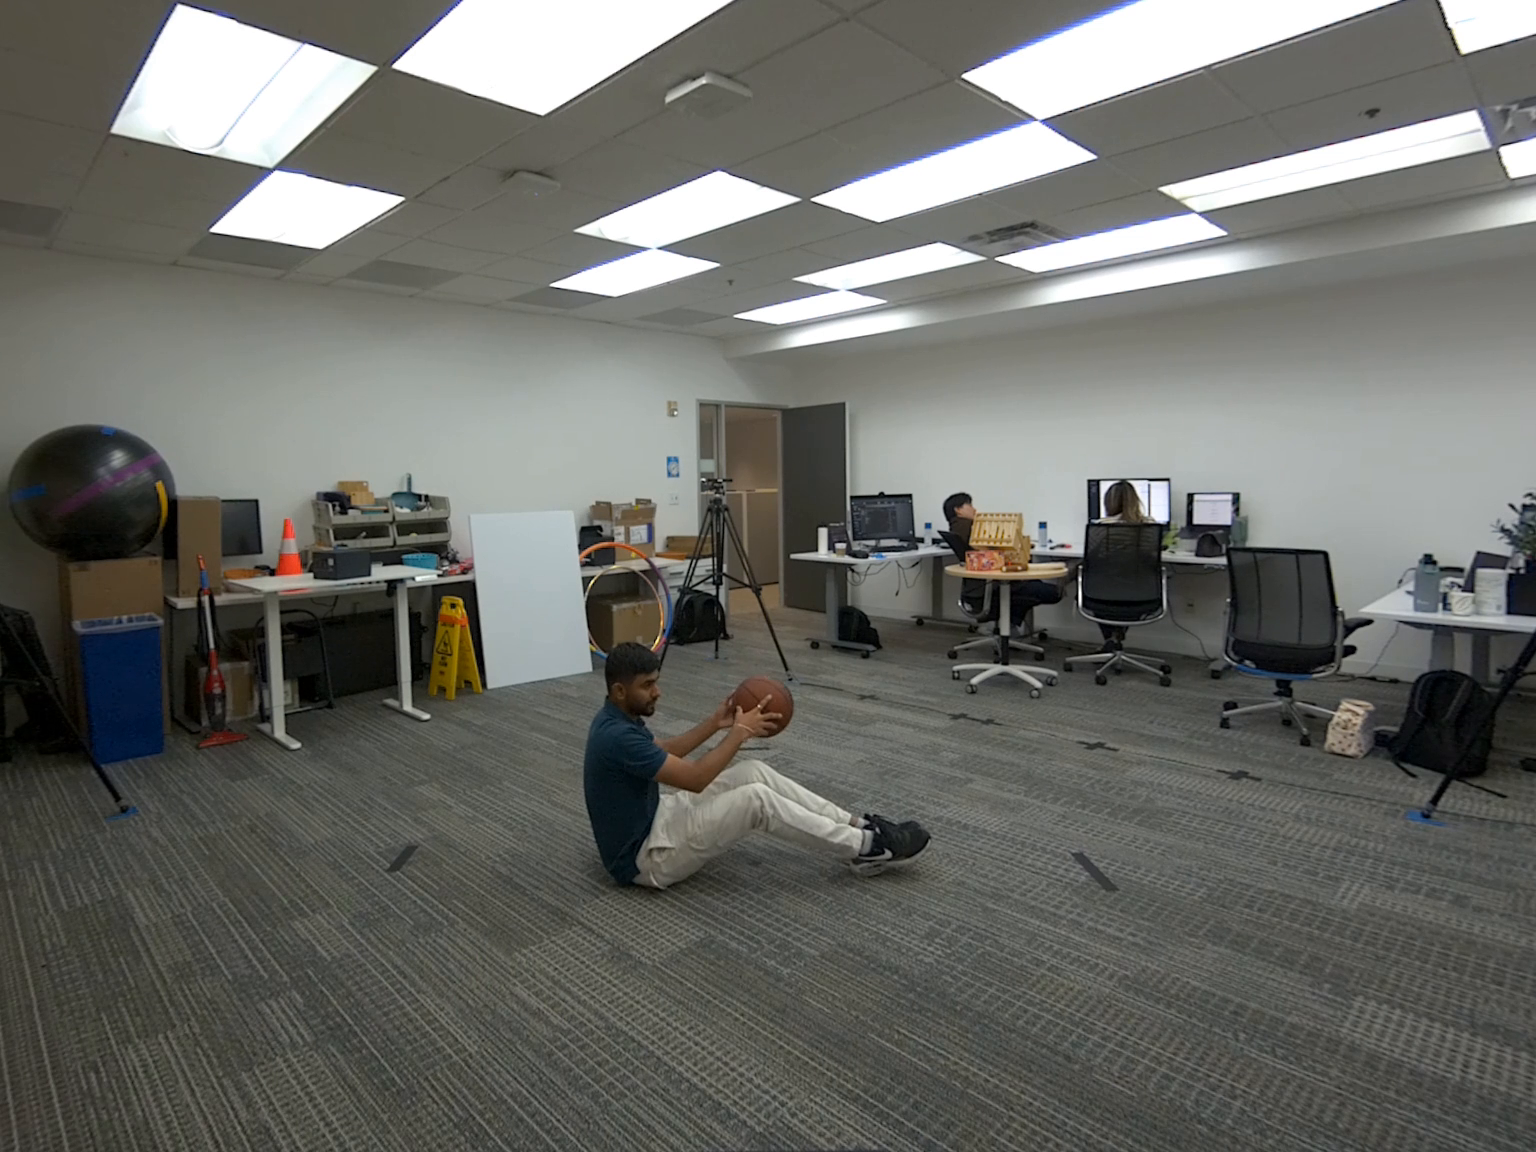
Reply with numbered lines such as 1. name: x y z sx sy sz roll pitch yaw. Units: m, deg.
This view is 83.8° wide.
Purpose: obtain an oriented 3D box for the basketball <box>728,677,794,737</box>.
1. basketball: -0.024 0.501 3.270 0.236 0.235 0.237 -1 5 -2
